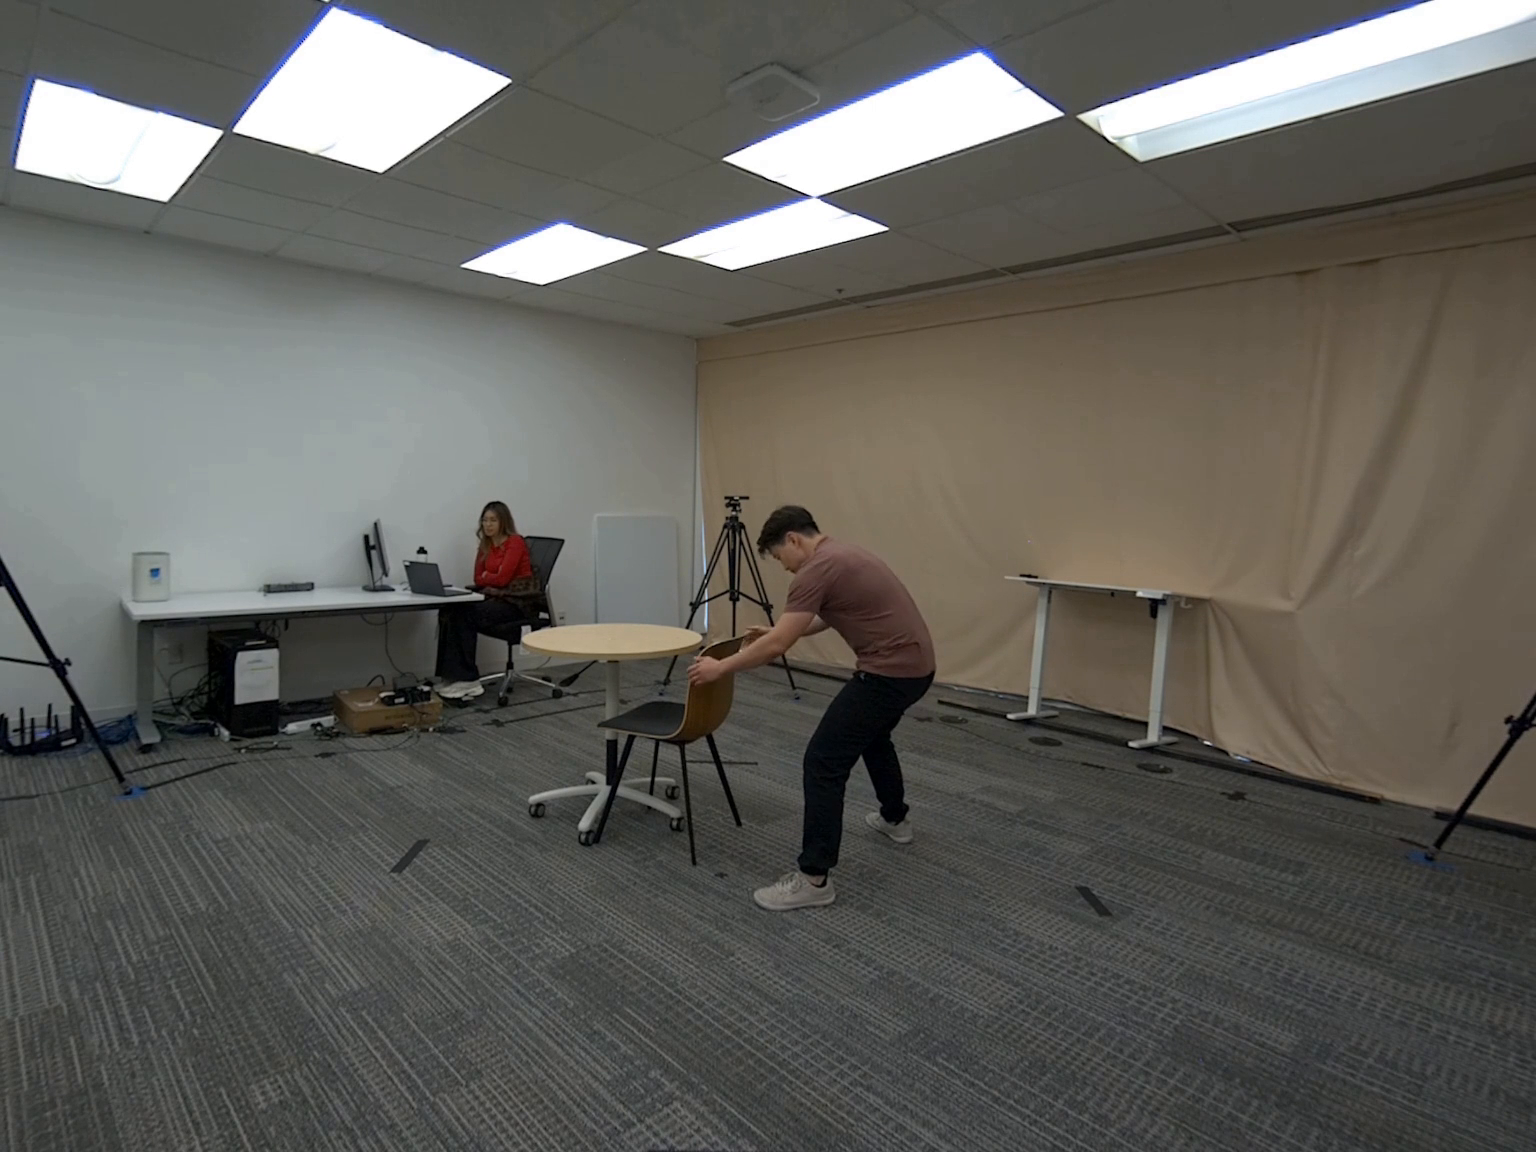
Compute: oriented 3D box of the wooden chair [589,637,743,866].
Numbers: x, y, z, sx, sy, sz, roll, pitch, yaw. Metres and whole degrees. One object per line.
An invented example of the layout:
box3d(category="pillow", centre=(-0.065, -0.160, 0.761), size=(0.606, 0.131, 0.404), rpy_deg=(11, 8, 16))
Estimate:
box3d(category="wooden chair", centre=(-0.403, 0.639, 3.434), size=(0.533, 0.874, 0.470), rpy_deg=(7, 6, 23))
